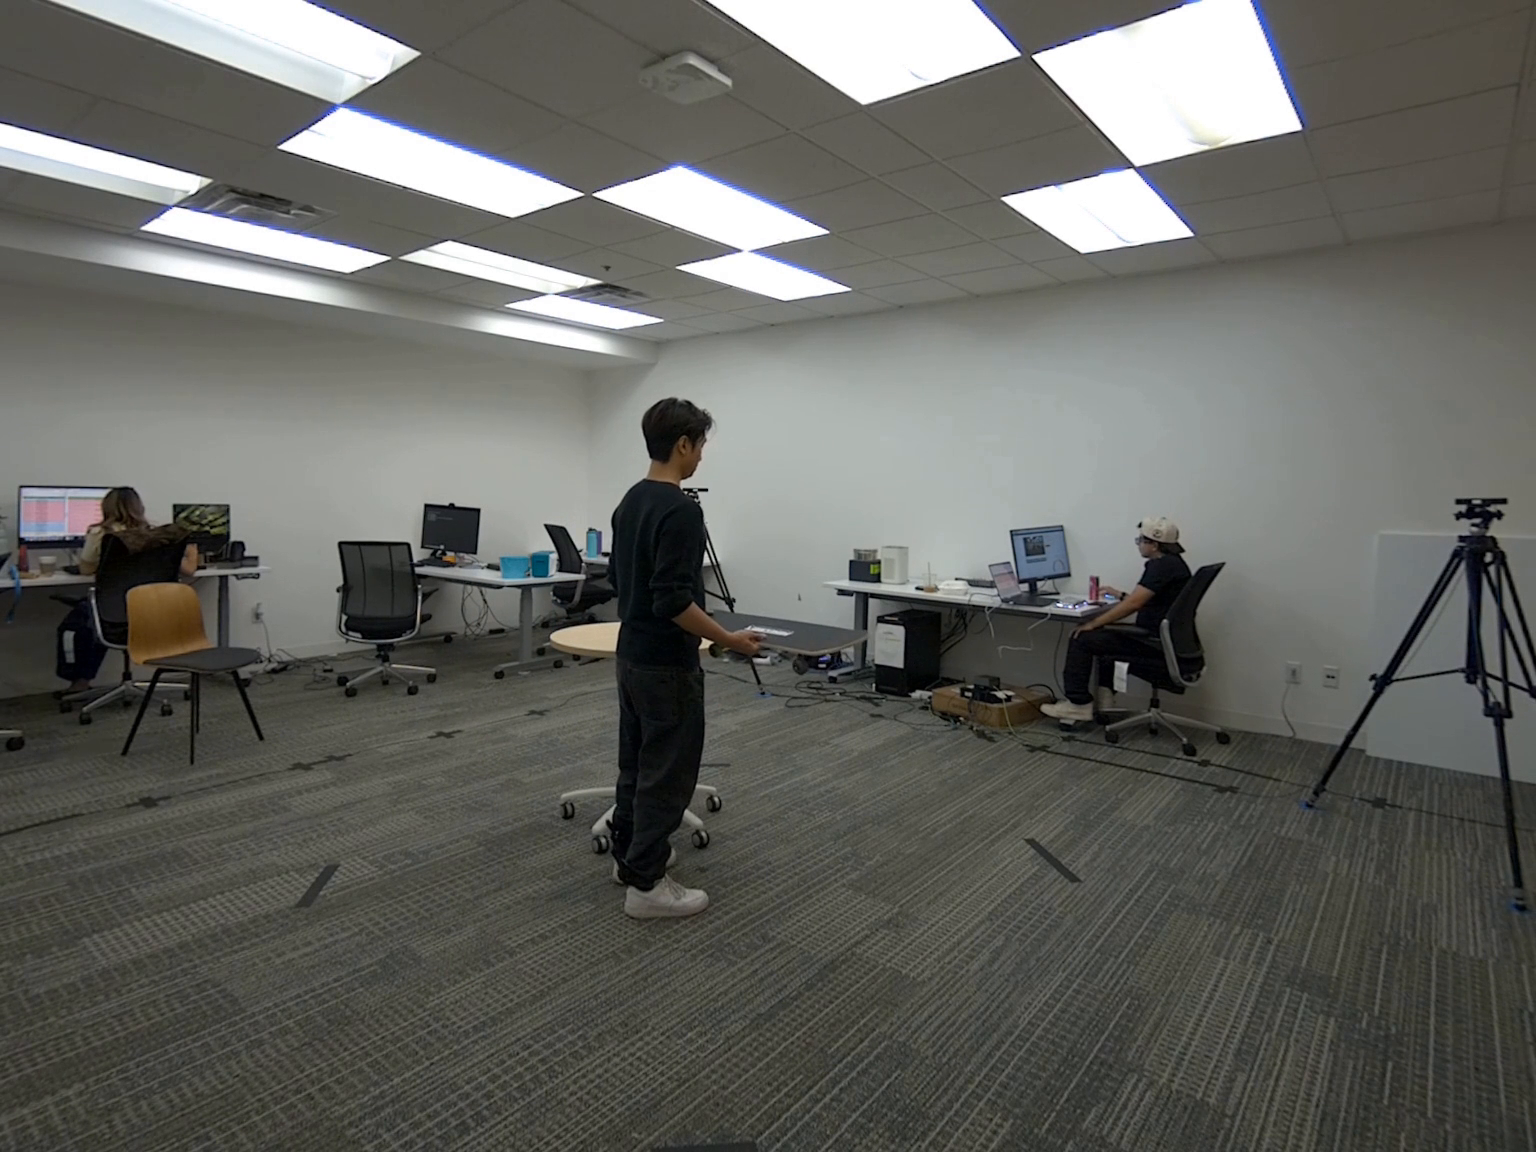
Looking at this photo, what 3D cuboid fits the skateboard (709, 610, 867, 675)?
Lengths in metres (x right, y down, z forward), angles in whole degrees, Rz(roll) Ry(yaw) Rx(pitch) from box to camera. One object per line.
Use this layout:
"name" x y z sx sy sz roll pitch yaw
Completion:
"skateboard" -0.003 0.215 2.741 0.190 0.108 0.812 -23 19 -38
